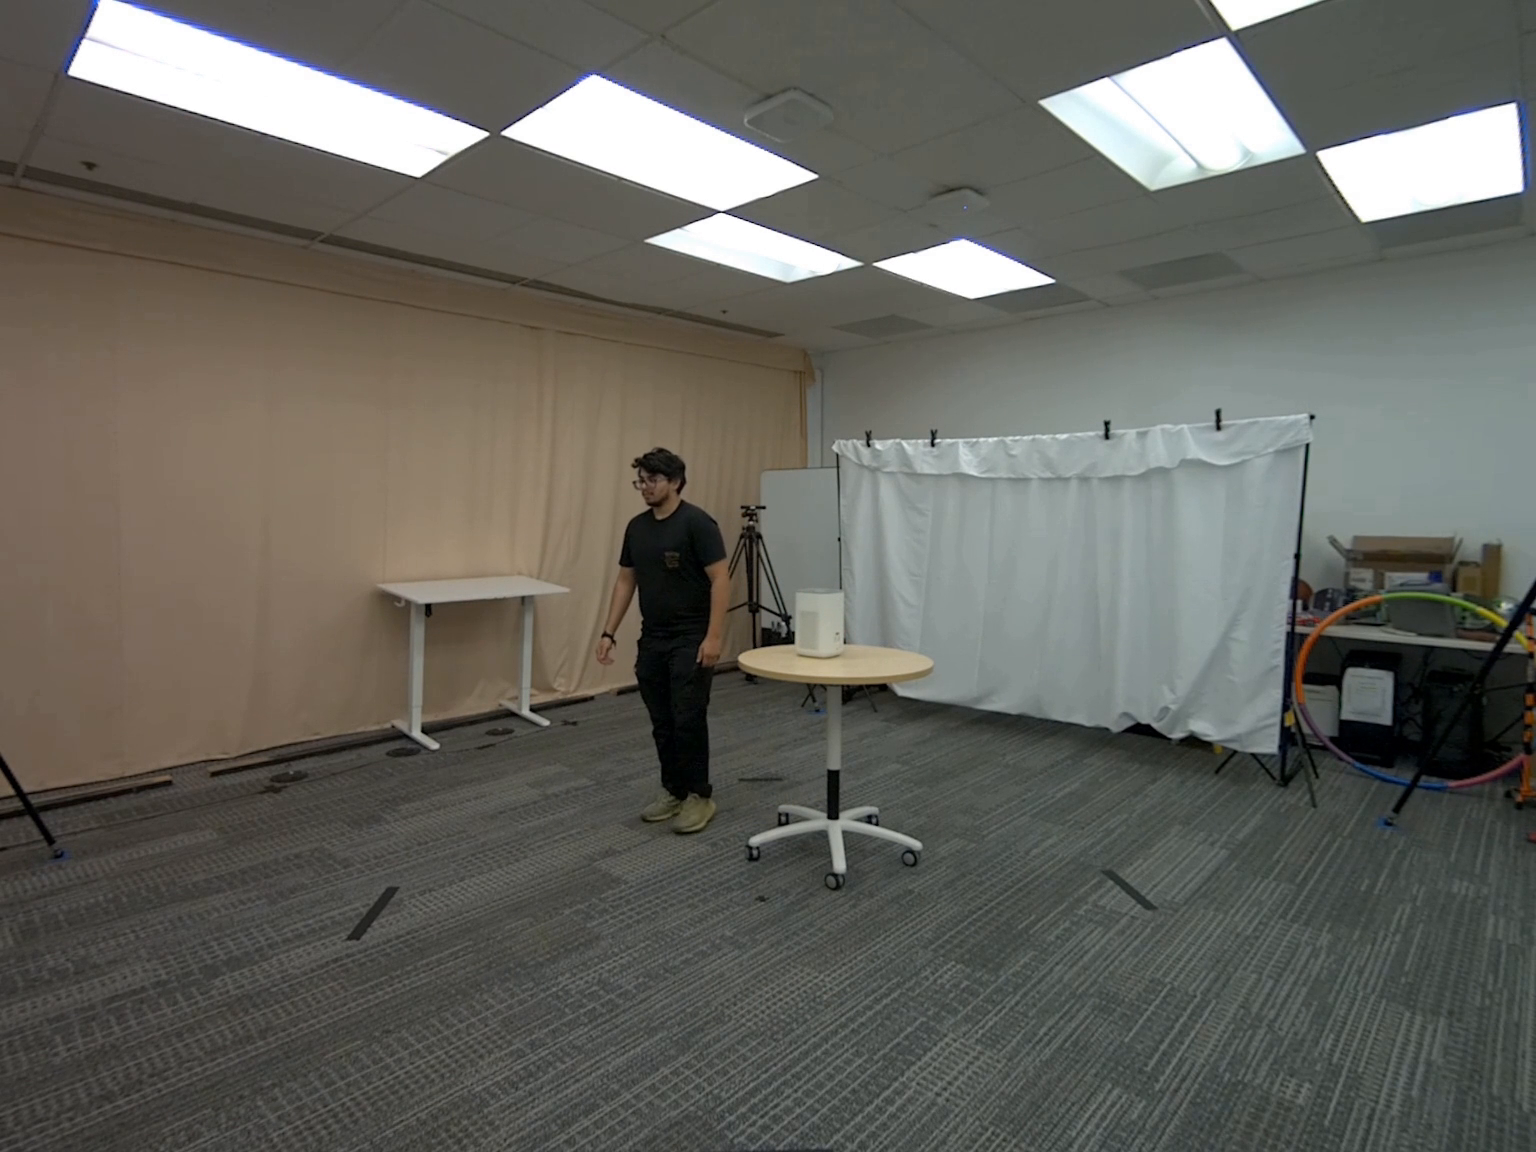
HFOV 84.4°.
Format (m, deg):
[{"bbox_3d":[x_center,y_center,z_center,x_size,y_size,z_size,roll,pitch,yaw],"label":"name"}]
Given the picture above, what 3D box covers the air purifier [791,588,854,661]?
[{"bbox_3d":[0.218,0.190,3.421,0.179,0.262,0.163,5,3,39],"label":"air purifier"}]
